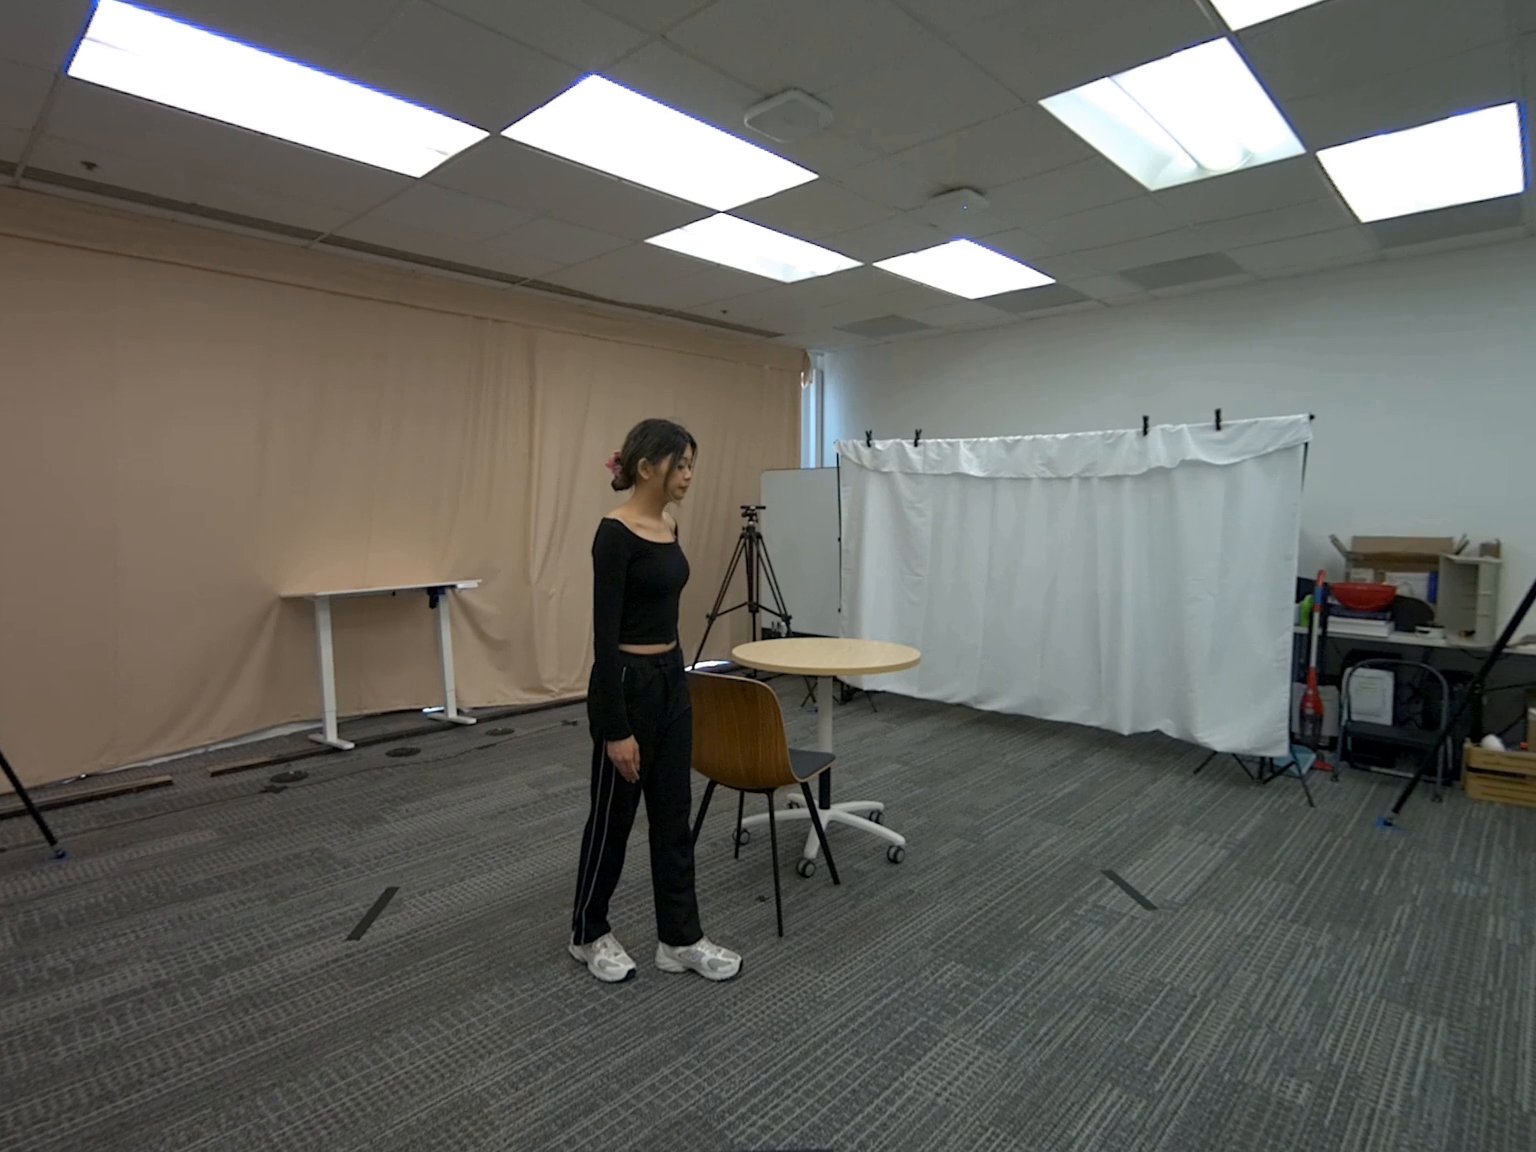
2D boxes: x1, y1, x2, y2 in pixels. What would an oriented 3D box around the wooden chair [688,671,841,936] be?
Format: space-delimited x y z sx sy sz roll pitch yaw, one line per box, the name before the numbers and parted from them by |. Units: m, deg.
wooden chair | -0.033 0.714 3.003 0.492 0.873 0.510 2 8 32
